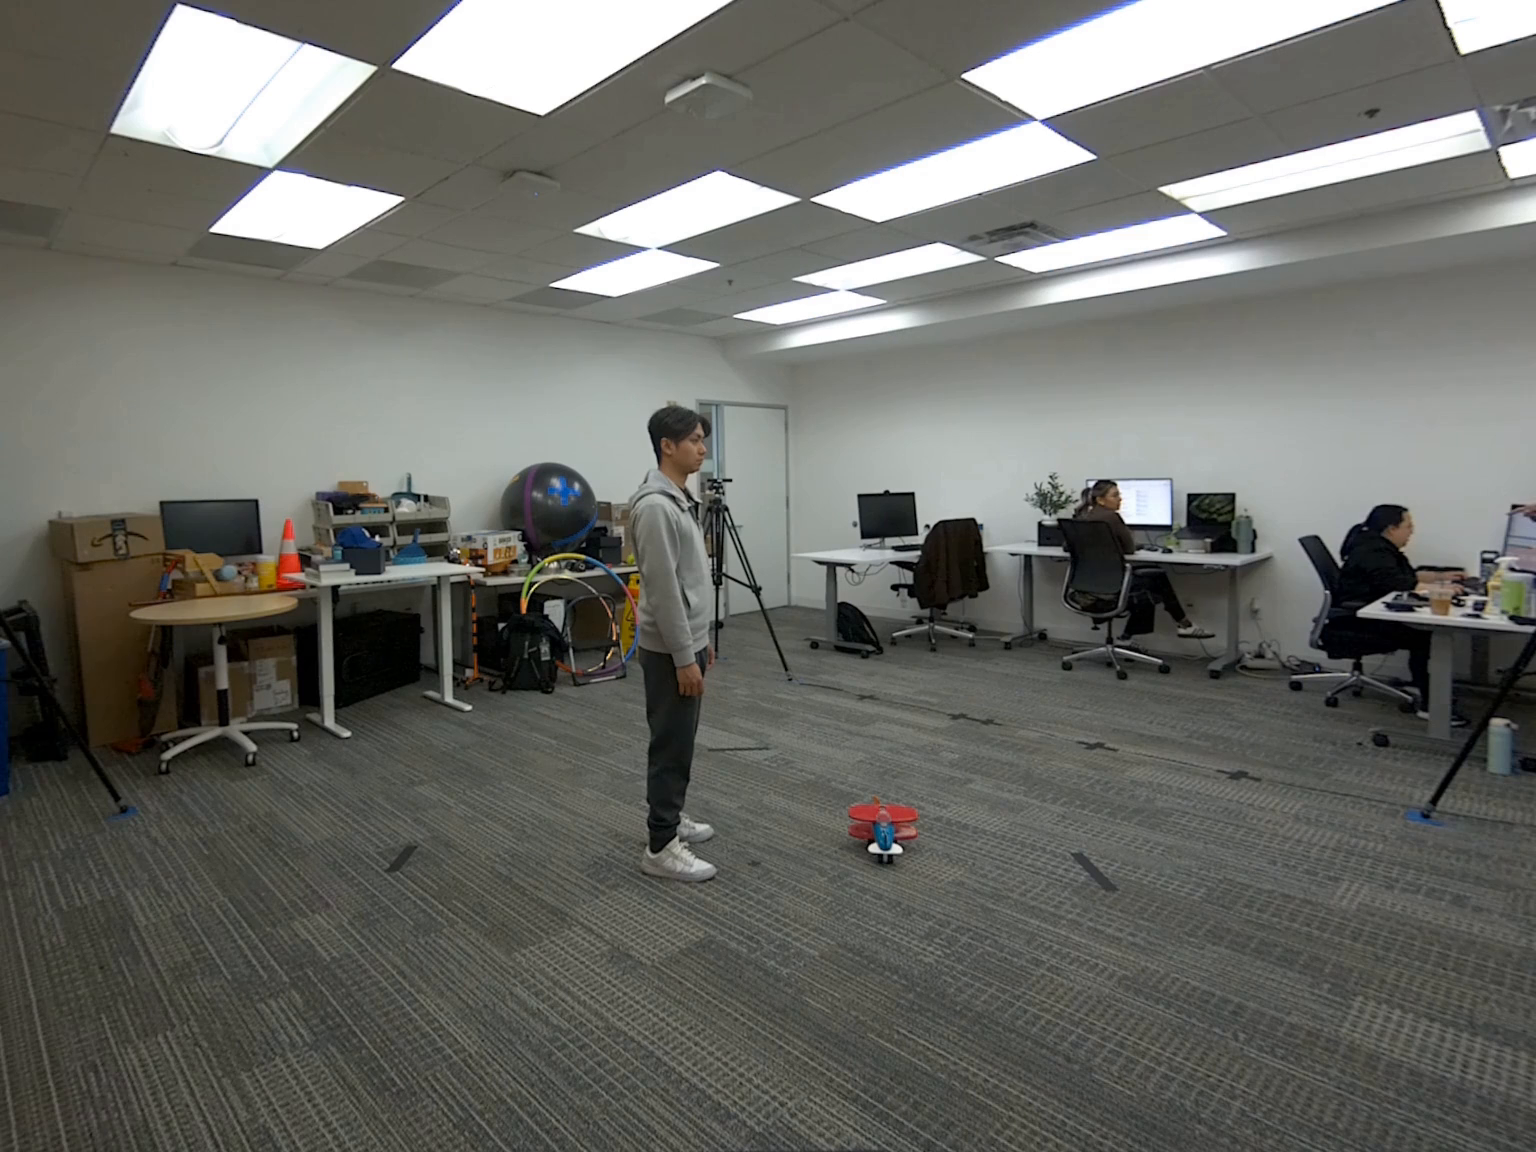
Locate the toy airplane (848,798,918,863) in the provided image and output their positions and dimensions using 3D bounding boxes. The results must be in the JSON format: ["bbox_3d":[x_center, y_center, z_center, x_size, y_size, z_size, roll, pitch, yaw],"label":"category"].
[{"bbox_3d":[0.446,0.952,3.176,0.246,0.156,0.265,-4,6,-24],"label":"toy airplane"}]
